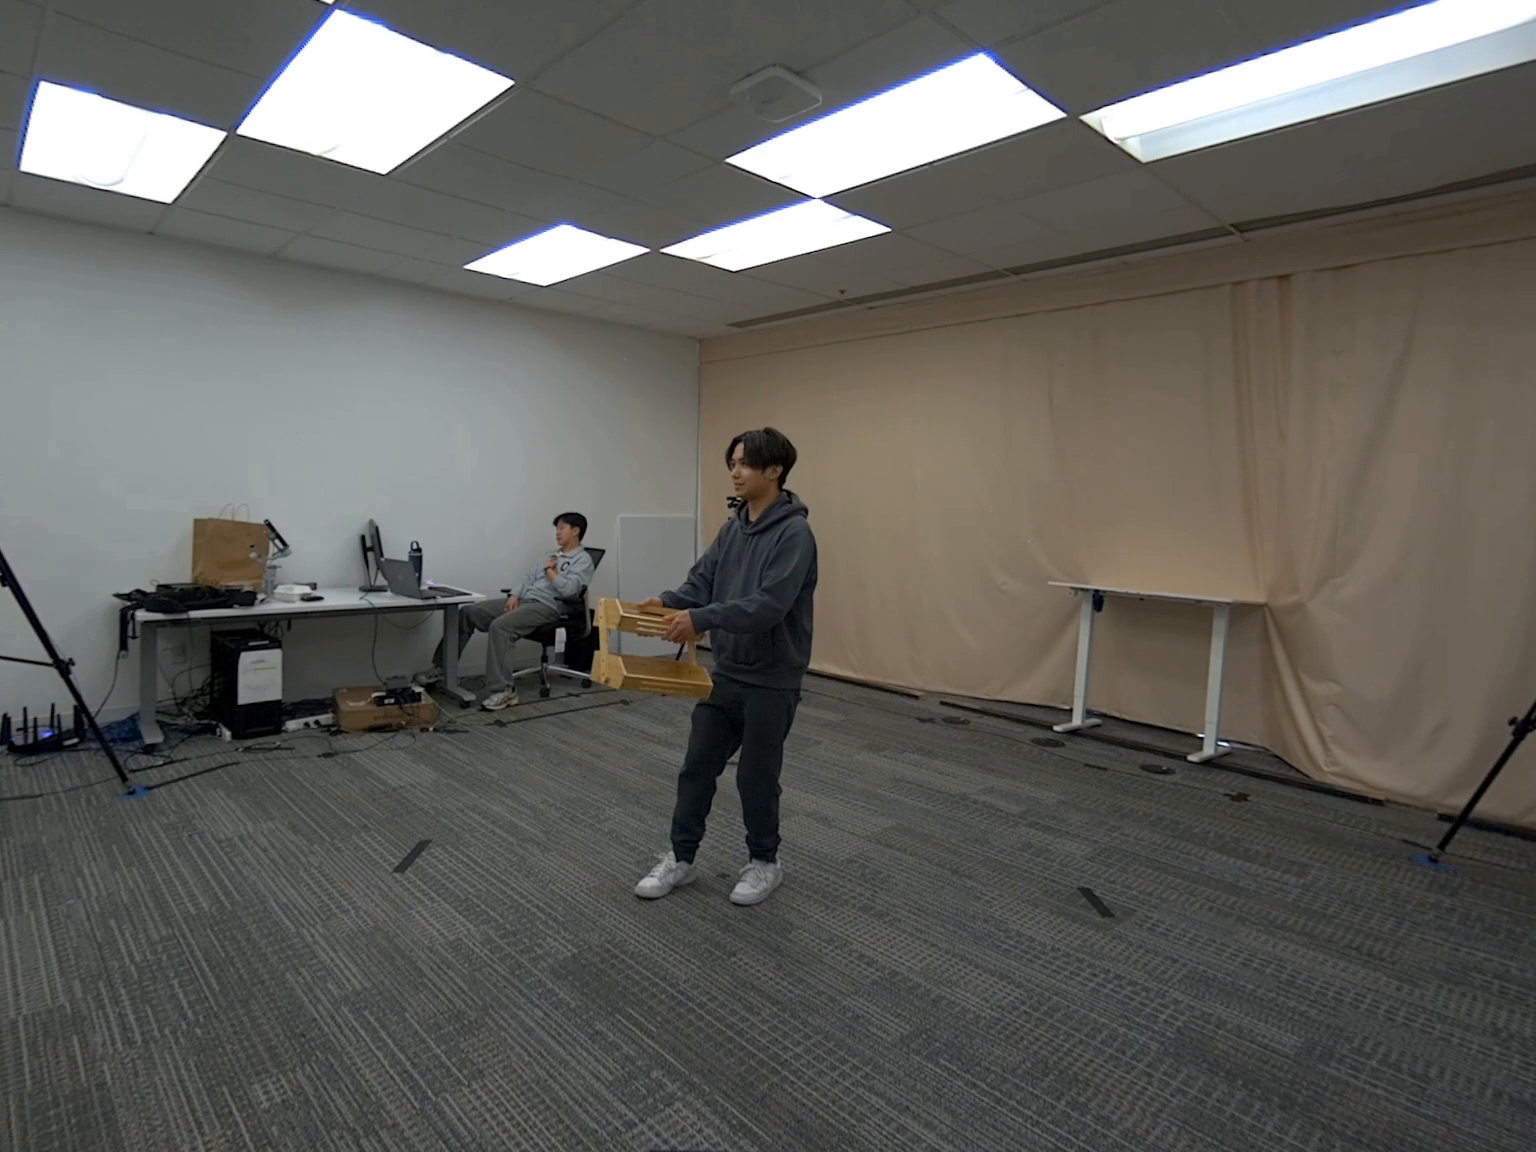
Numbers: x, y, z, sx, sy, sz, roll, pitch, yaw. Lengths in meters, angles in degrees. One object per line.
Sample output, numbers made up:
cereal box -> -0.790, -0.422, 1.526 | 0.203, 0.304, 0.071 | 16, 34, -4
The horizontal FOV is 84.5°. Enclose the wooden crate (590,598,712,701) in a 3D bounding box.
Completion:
wooden crate -> -0.369, 0.222, 2.630 | 0.316, 0.274, 0.308 | 12, -7, -31
